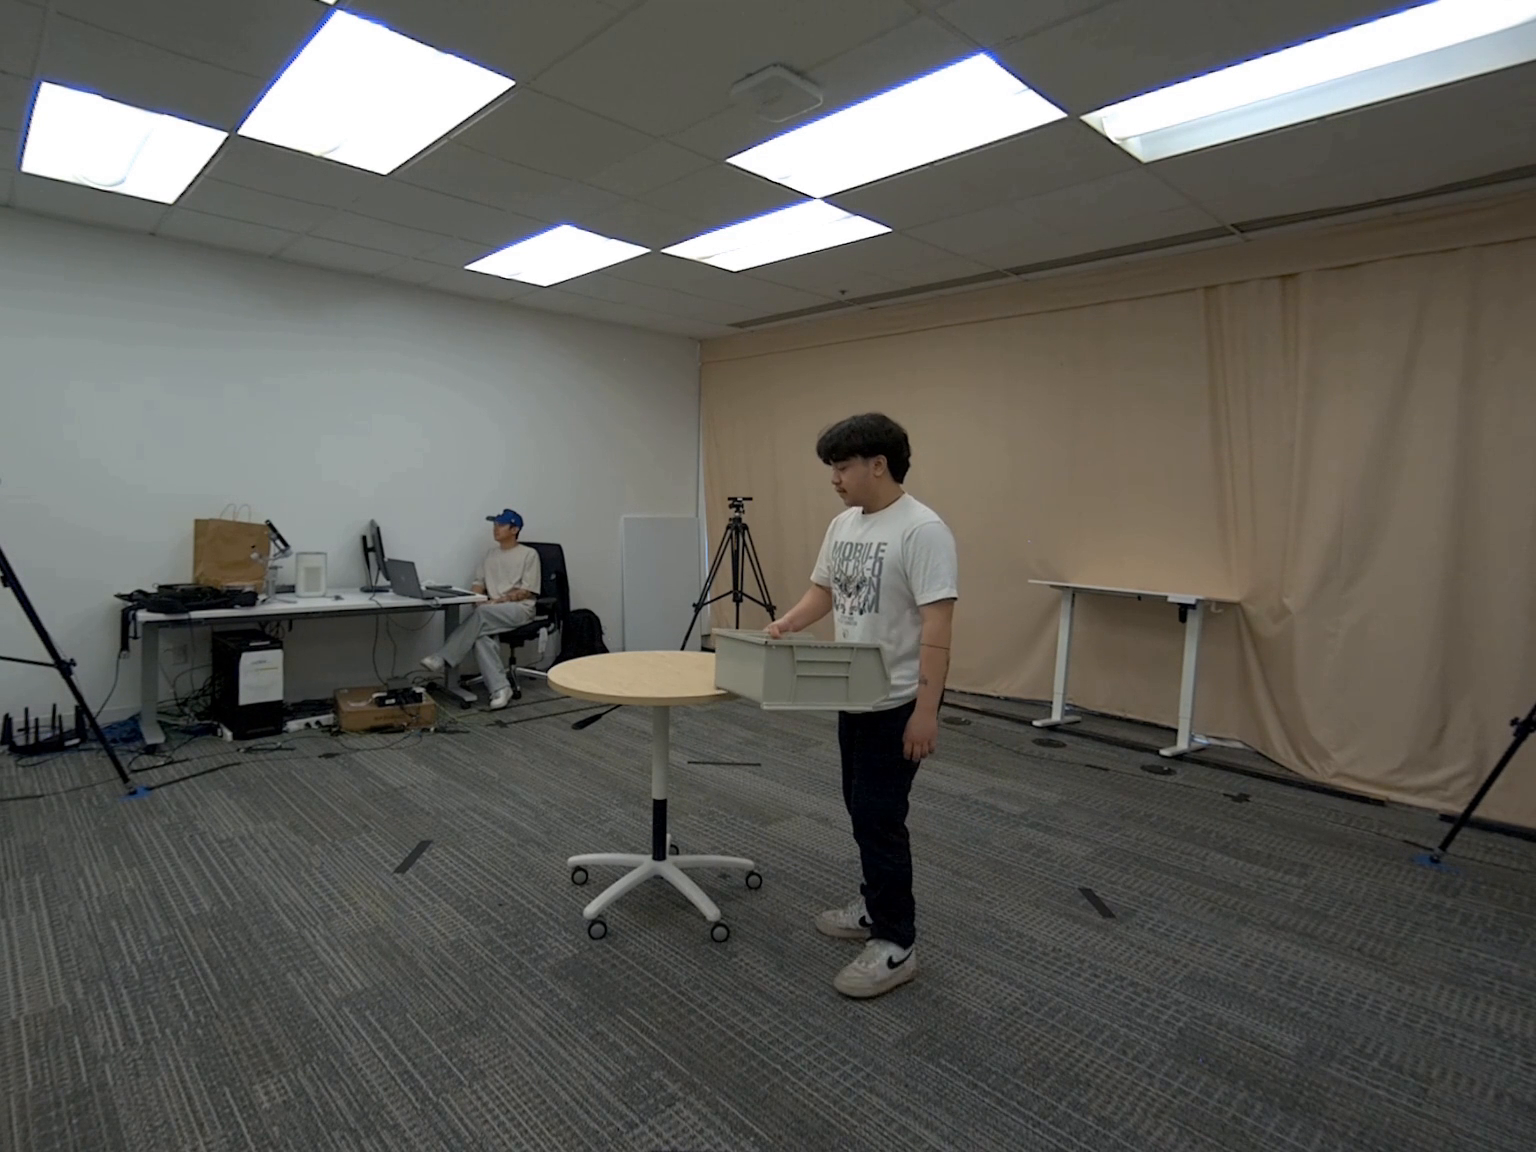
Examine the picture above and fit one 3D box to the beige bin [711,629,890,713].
[{"bbox_3d":[0.074,0.266,2.385,0.371,0.189,0.429,3,0,-22],"label":"beige bin"}]
